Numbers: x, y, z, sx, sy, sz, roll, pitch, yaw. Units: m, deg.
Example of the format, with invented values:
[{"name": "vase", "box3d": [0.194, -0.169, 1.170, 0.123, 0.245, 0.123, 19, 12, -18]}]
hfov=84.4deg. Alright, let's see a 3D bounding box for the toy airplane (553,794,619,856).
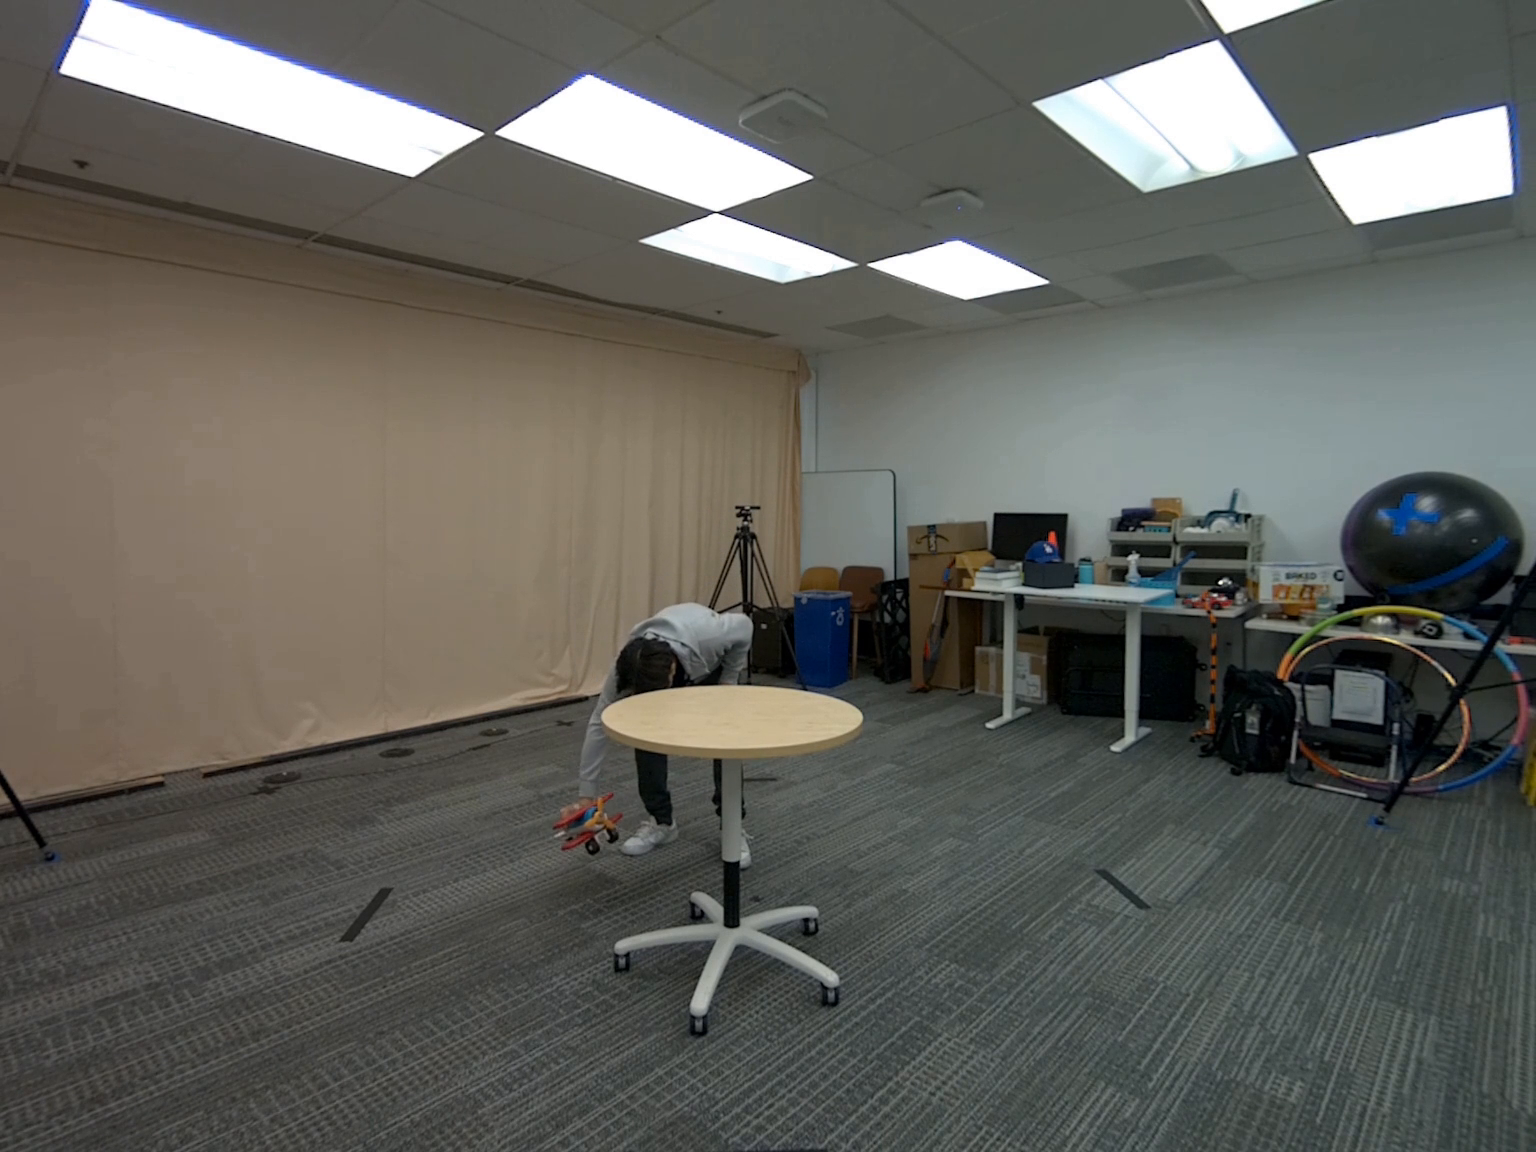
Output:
[{"name": "toy airplane", "box3d": [-0.664, 0.893, 2.983, 0.263, 0.156, 0.248, -14, 6, 16]}]
